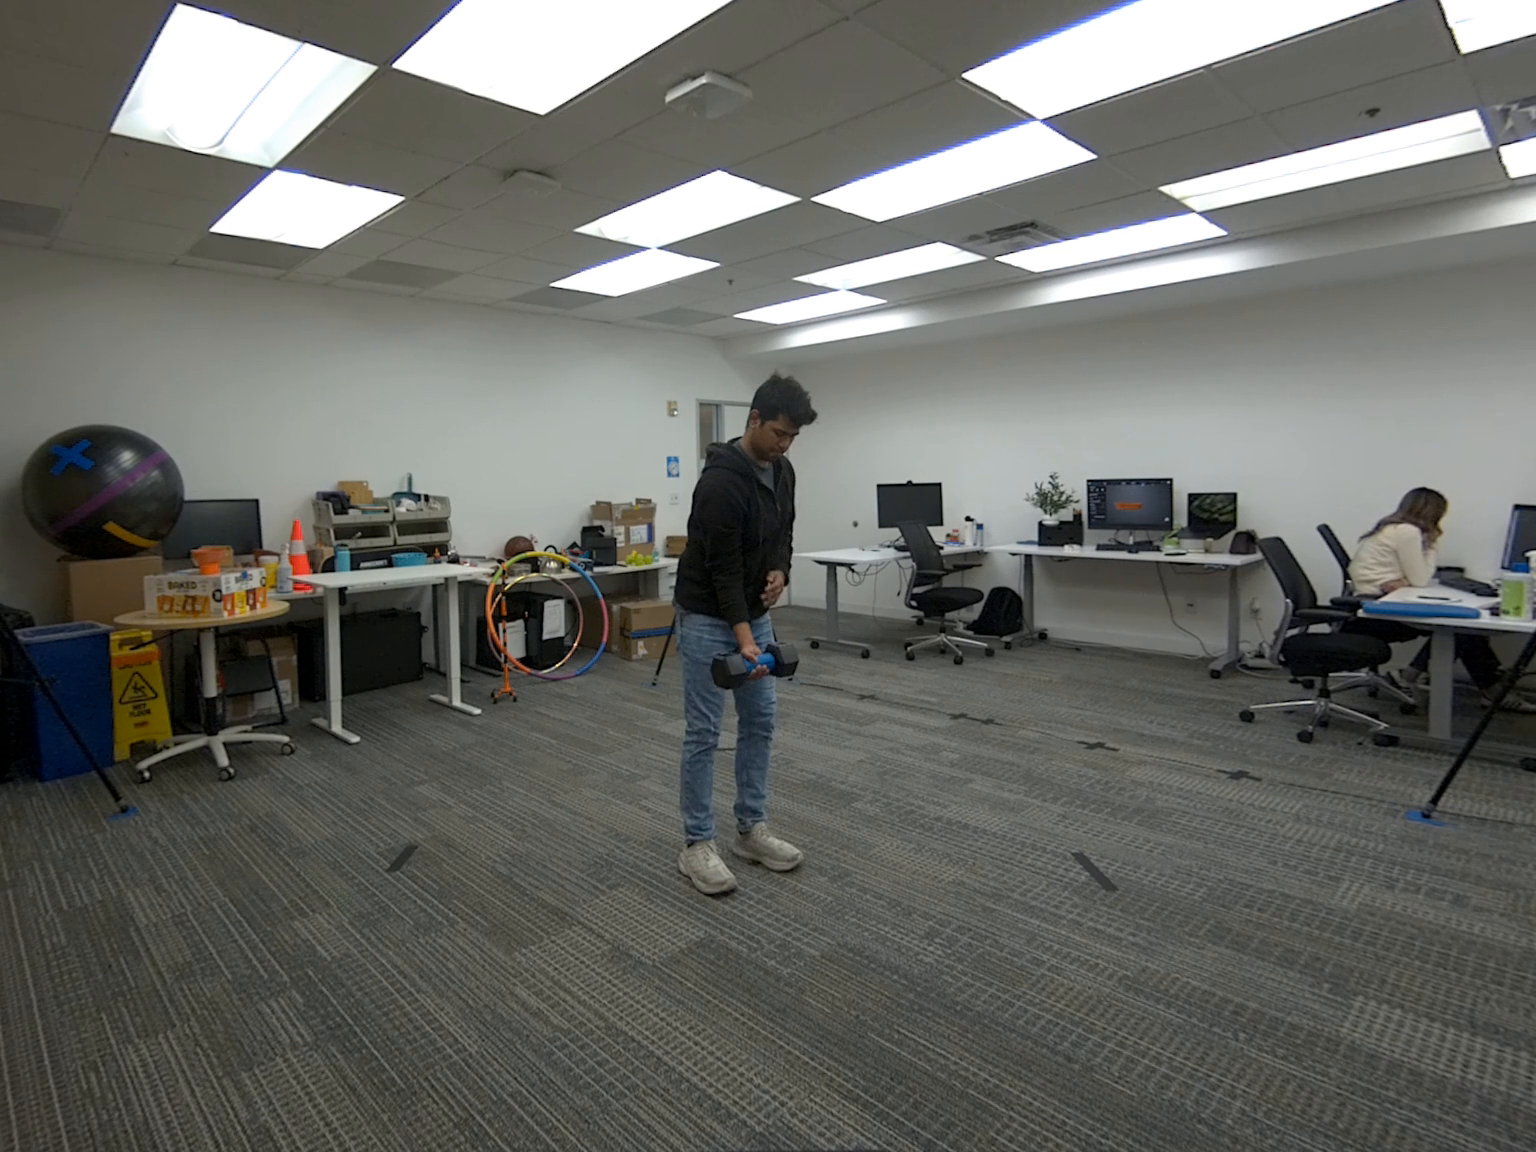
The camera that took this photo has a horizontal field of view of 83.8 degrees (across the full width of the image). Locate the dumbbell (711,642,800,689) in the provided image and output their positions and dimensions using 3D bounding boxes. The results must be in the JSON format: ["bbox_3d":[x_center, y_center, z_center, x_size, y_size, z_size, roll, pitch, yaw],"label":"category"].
[{"bbox_3d":[-0.039,0.282,2.792,0.286,0.126,0.109,-6,-23,-34],"label":"dumbbell"}]
